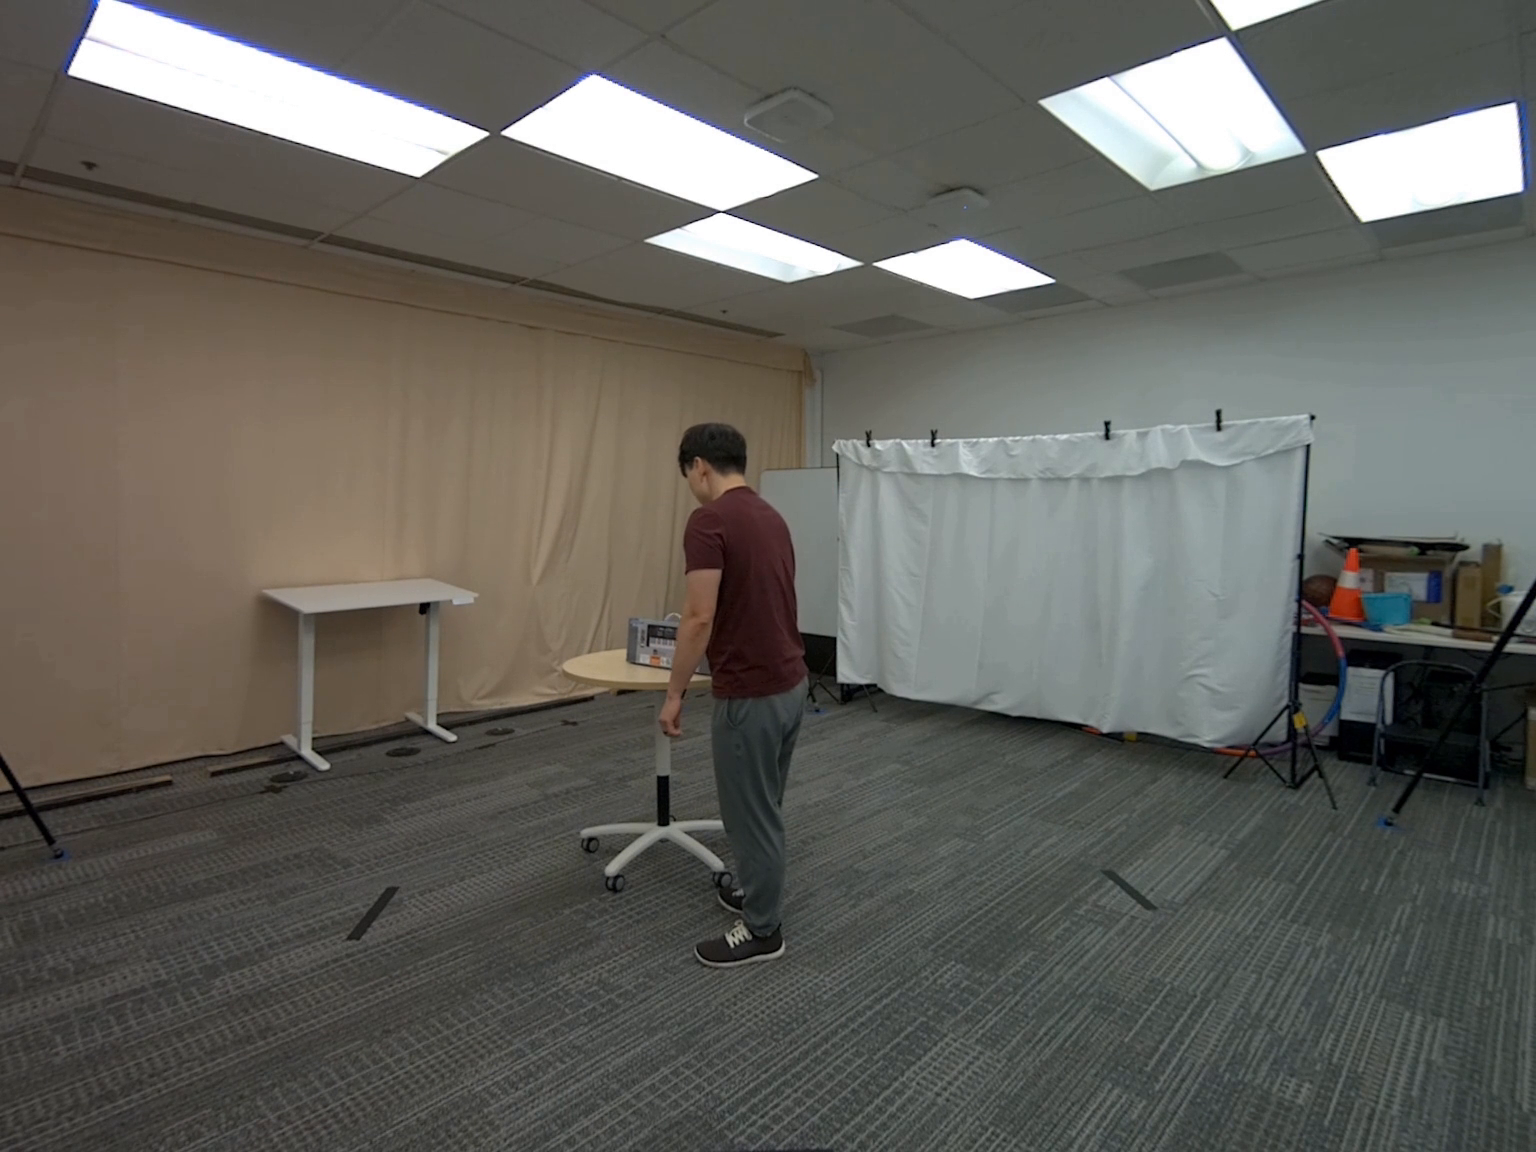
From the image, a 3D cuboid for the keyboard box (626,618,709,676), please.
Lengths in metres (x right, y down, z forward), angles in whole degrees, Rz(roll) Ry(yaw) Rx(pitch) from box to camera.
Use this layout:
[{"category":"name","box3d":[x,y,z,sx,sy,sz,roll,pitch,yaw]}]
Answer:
[{"category":"keyboard box","box3d":[-0.354,0.263,3.166,0.451,0.176,0.057,3,-1,38]}]
